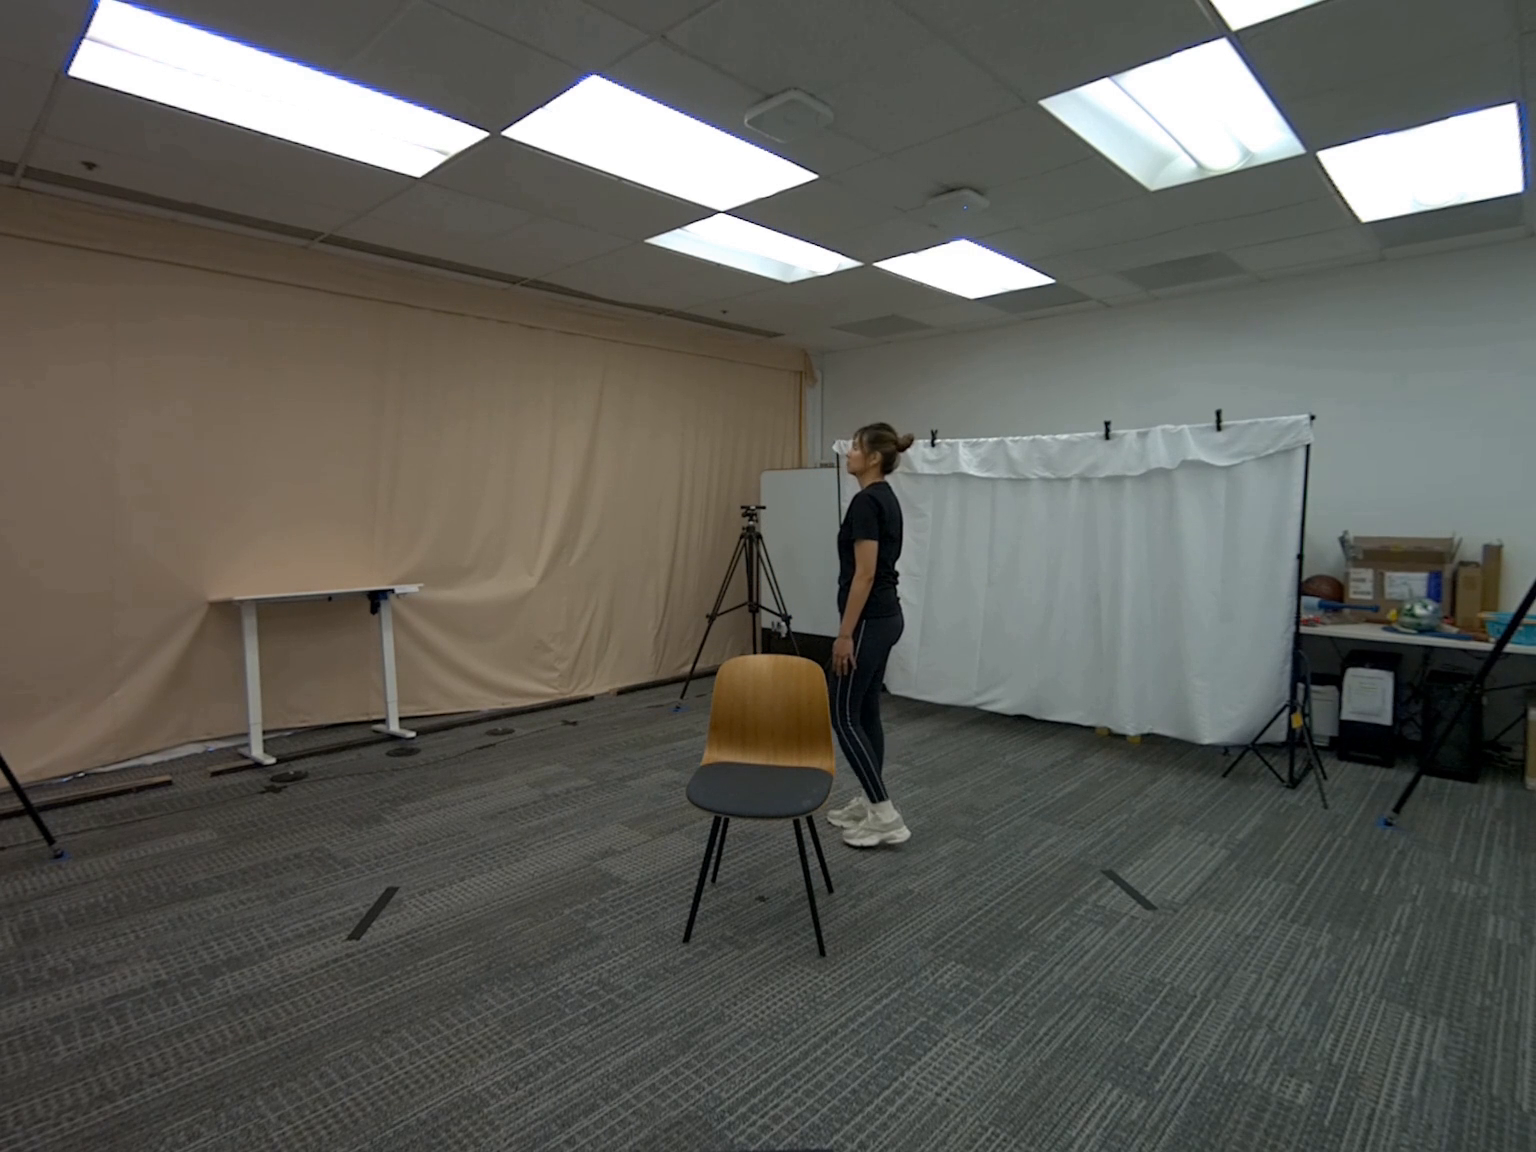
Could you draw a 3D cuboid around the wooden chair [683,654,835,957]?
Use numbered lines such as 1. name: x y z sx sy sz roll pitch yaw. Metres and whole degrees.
1. wooden chair: -0.013 0.729 2.816 0.484 0.878 0.516 1 -1 10
